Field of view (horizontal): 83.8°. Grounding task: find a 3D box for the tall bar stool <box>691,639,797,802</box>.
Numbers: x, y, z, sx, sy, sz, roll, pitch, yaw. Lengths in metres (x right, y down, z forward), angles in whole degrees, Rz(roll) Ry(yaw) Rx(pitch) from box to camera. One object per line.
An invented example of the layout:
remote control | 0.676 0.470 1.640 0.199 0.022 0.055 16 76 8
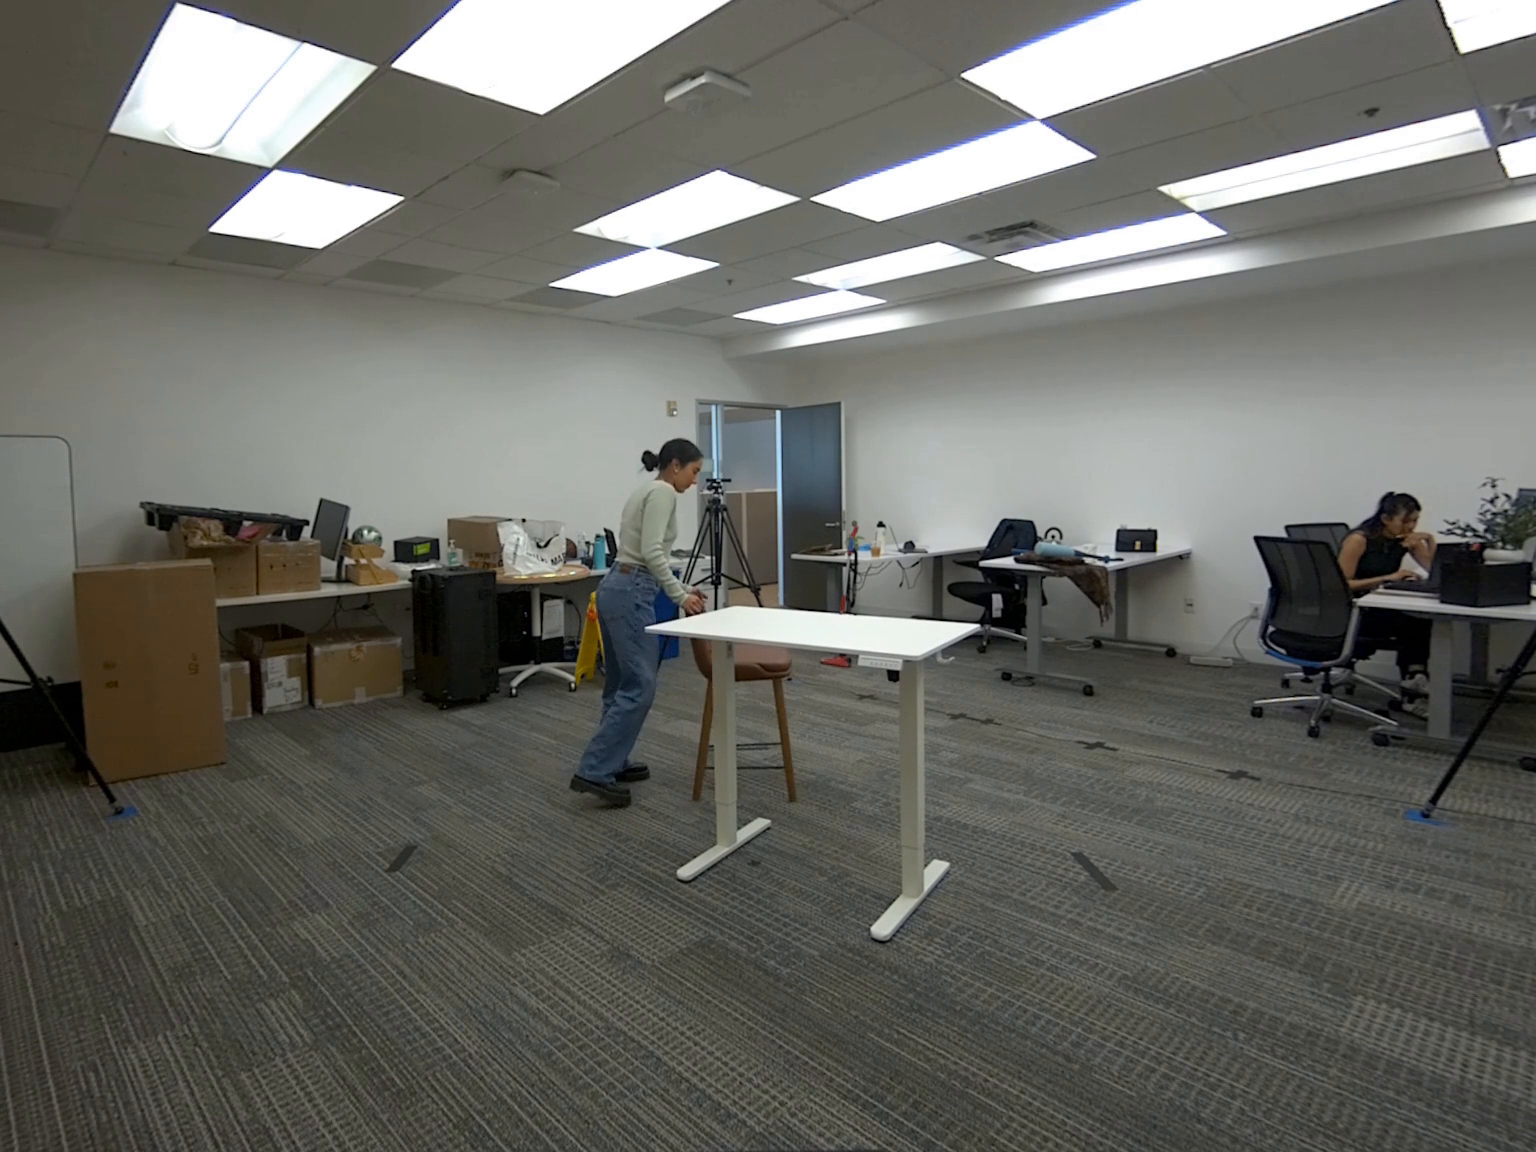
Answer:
tall bar stool | -0.122 0.525 3.869 0.468 0.887 0.457 -3 3 1
